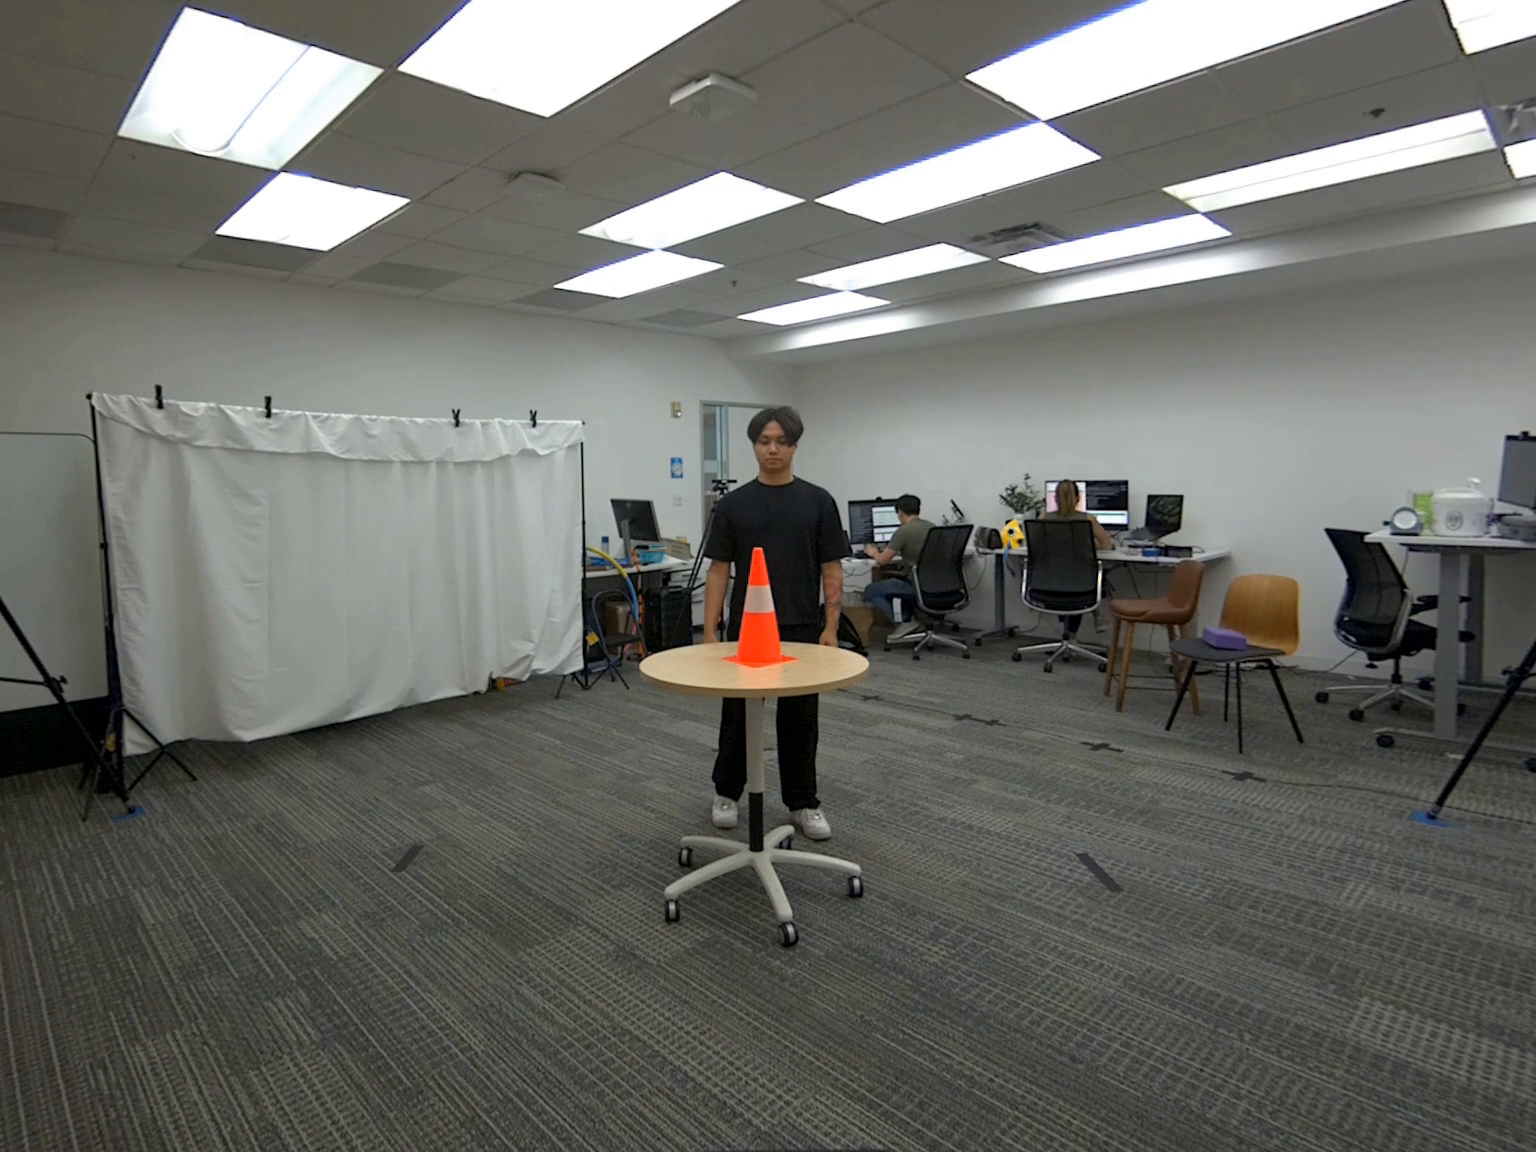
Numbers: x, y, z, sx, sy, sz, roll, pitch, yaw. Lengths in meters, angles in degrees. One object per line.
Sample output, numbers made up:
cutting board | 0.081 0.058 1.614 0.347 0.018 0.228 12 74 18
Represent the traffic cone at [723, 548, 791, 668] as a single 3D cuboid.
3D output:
traffic cone | -0.033 0.102 2.905 0.209 0.382 0.200 2 5 41
